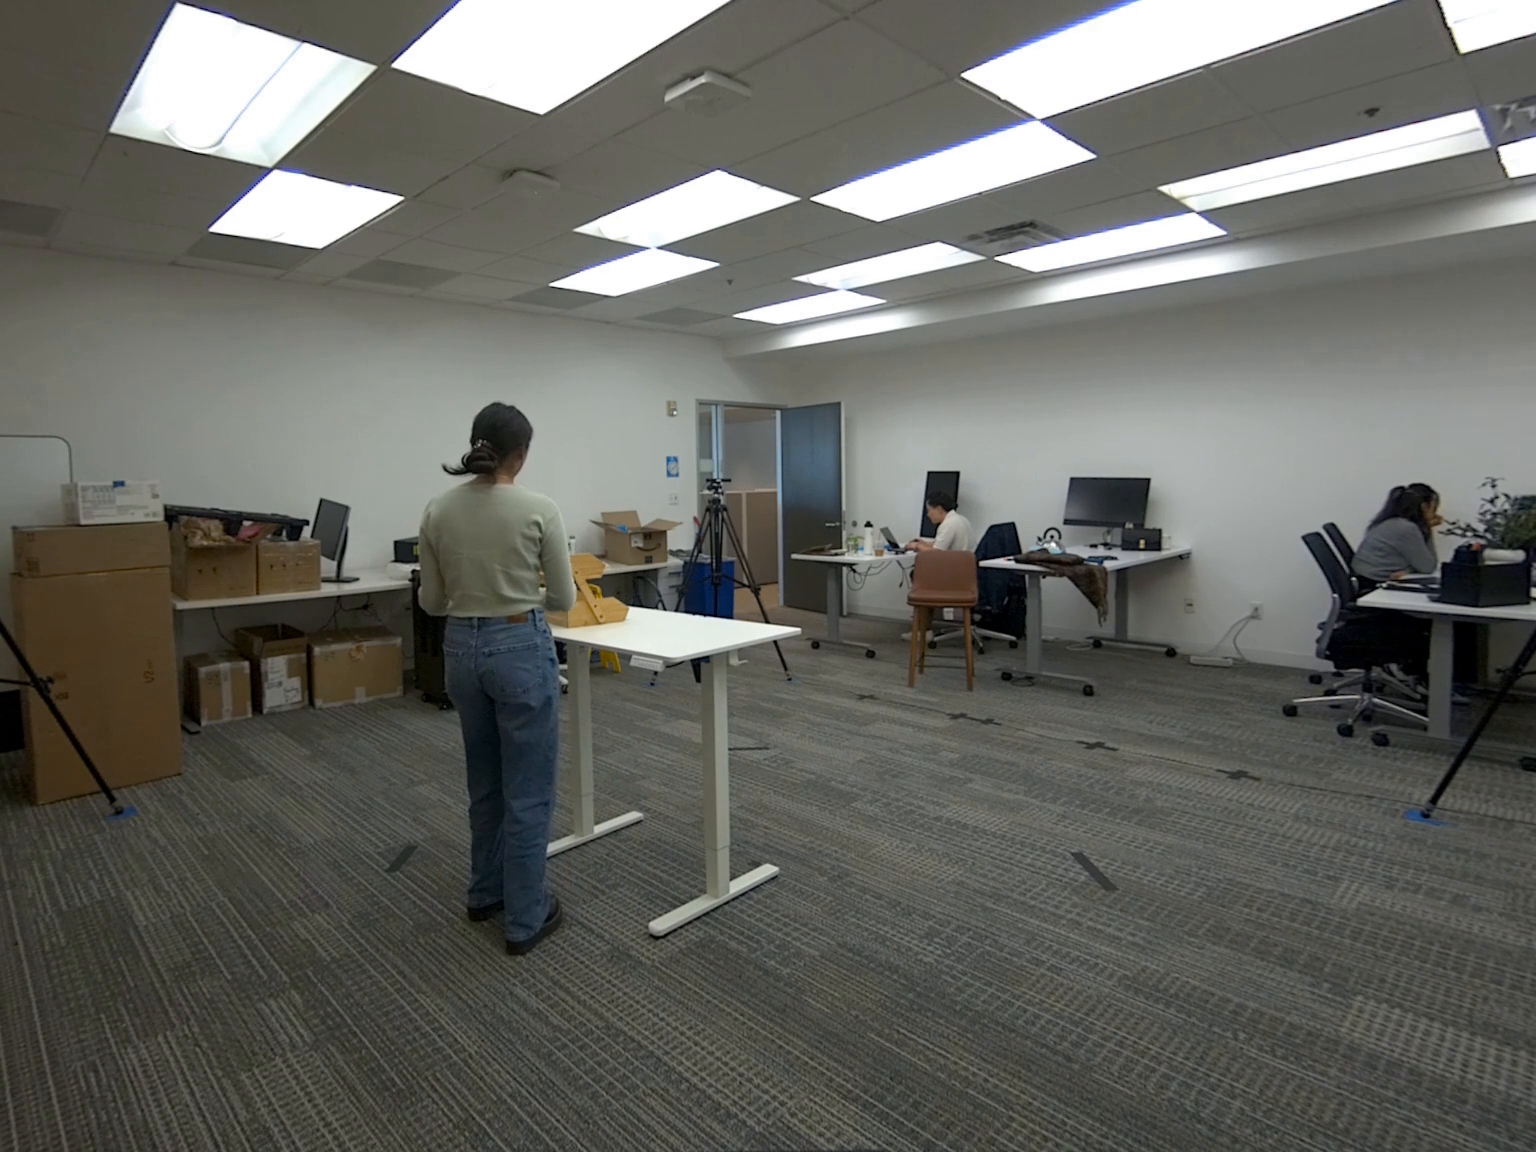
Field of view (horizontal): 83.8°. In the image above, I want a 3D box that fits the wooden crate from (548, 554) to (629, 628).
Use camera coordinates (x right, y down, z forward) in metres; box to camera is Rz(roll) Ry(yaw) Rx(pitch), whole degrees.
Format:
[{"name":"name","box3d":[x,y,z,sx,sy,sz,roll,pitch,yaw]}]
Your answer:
[{"name":"wooden crate","box3d":[-0.723,0.037,3.190,0.294,0.272,0.334,-6,6,-37]}]
